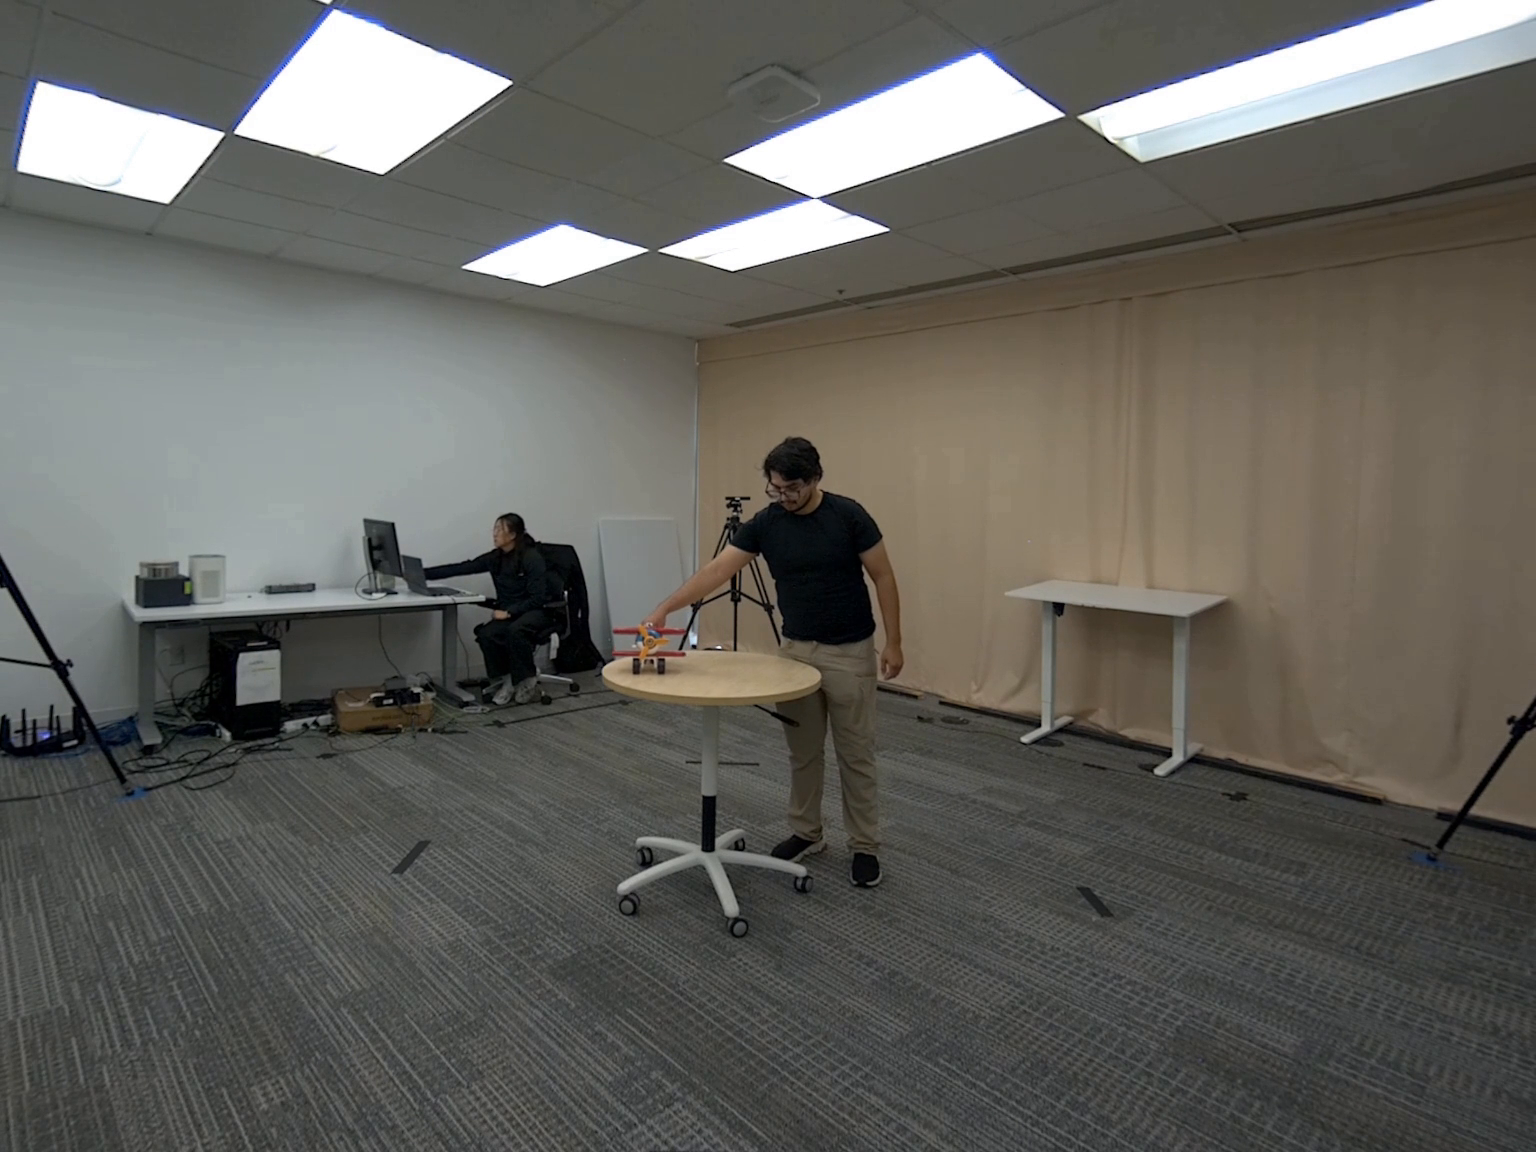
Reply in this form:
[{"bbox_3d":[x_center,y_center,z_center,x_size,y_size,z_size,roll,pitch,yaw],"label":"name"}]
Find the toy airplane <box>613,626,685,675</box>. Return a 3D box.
[{"bbox_3d":[-0.444,0.254,2.960,0.246,0.156,0.265,-2,6,-34],"label":"toy airplane"}]
